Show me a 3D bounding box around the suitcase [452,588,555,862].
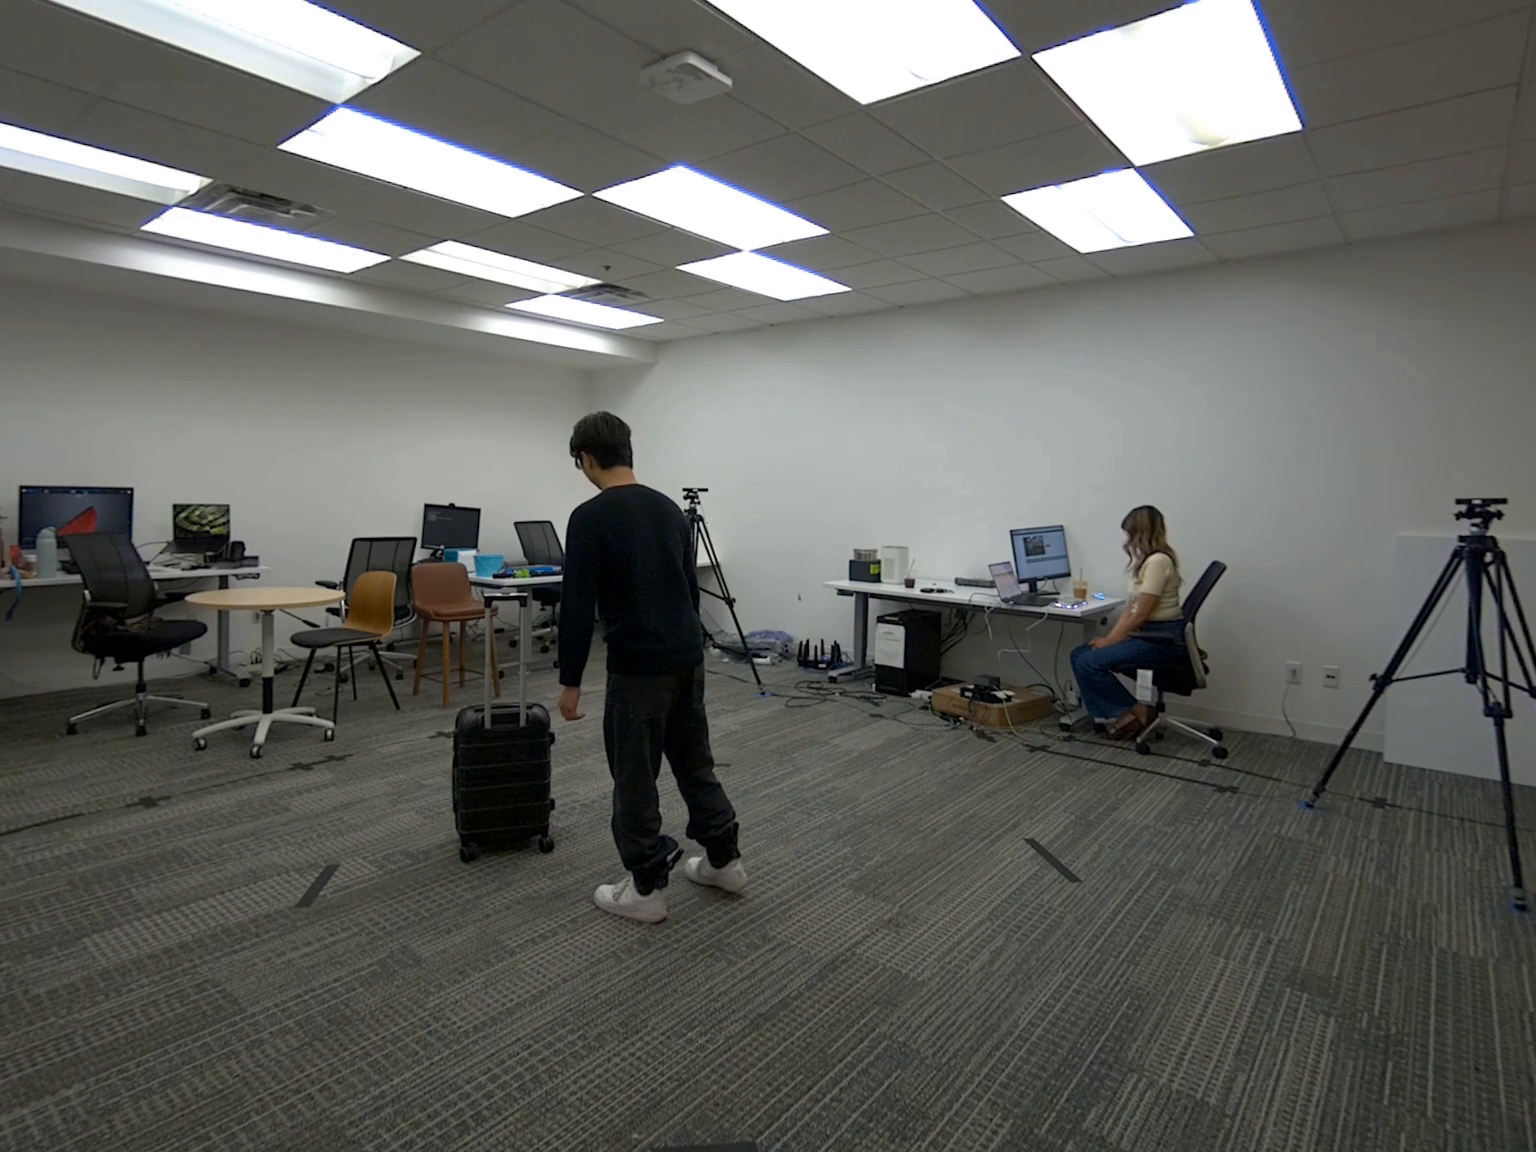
[{"bbox_3d":[-1.045,0.563,3.296,0.377,0.978,0.262,-1,0,-19],"label":"suitcase"}]
